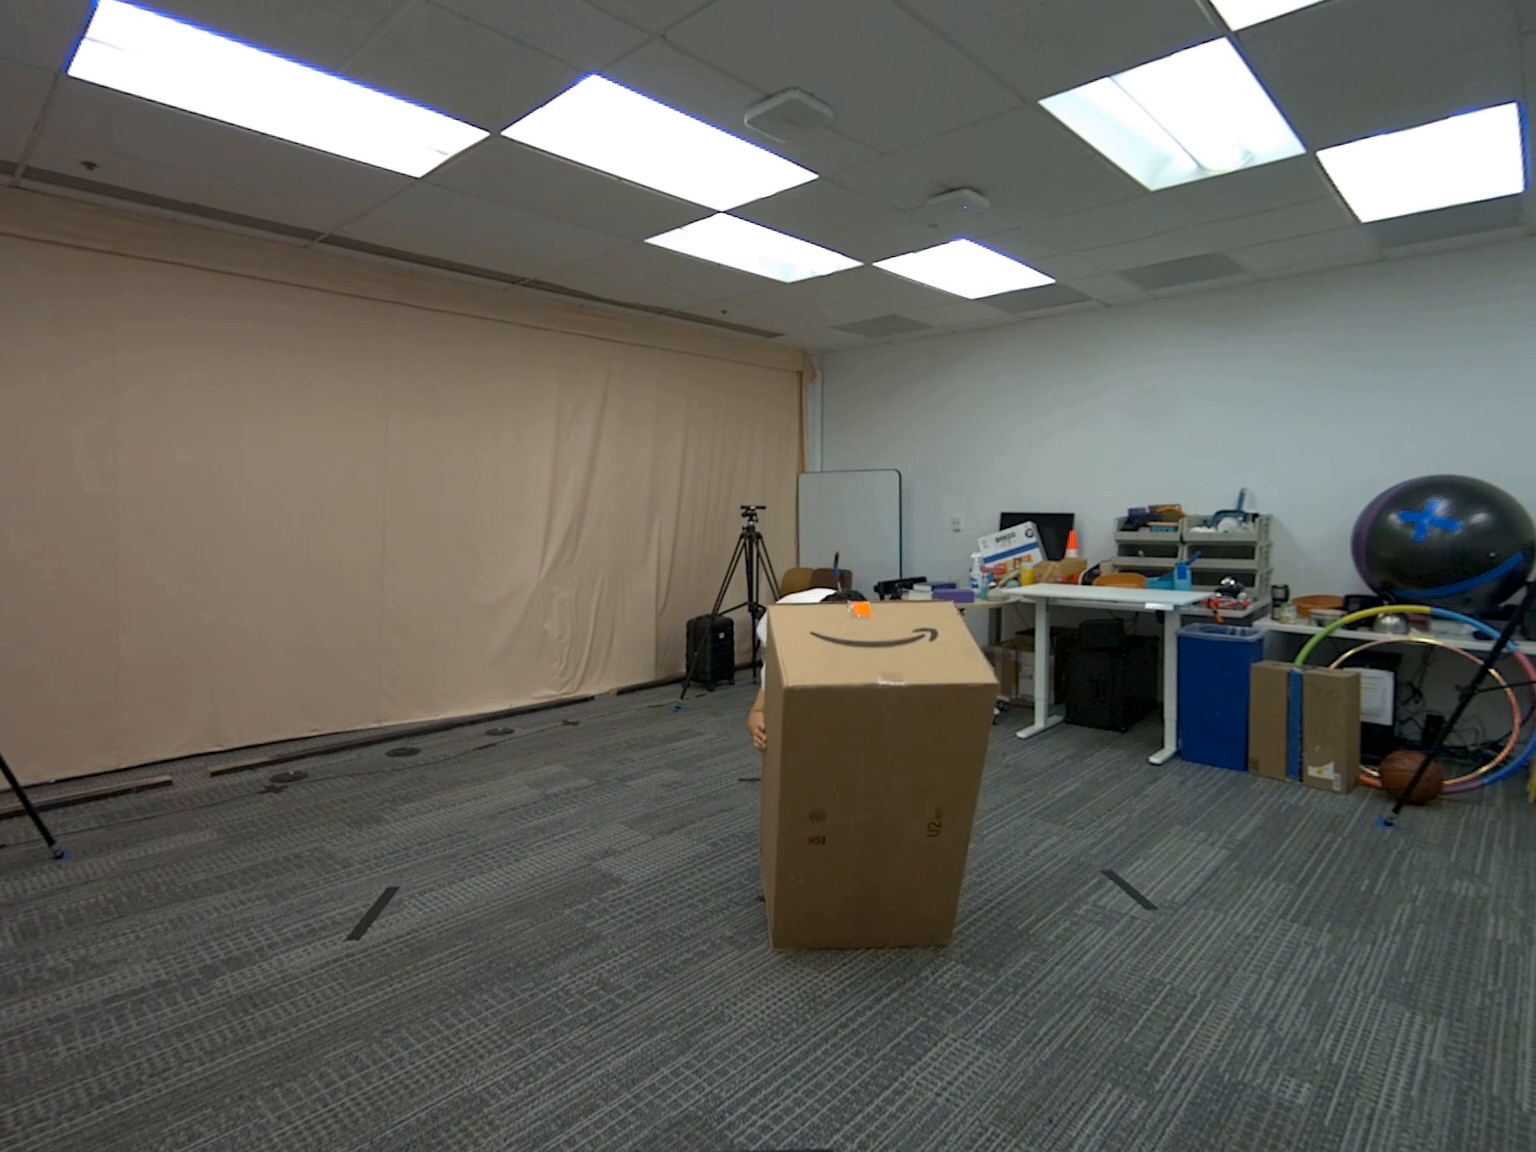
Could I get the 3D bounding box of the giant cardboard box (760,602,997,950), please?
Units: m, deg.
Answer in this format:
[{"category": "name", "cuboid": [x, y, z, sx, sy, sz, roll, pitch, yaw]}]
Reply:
[{"category": "giant cardboard box", "cuboid": [0.293, 0.598, 2.601, 0.576, 1.011, 0.433, 0, 26, -3]}]
